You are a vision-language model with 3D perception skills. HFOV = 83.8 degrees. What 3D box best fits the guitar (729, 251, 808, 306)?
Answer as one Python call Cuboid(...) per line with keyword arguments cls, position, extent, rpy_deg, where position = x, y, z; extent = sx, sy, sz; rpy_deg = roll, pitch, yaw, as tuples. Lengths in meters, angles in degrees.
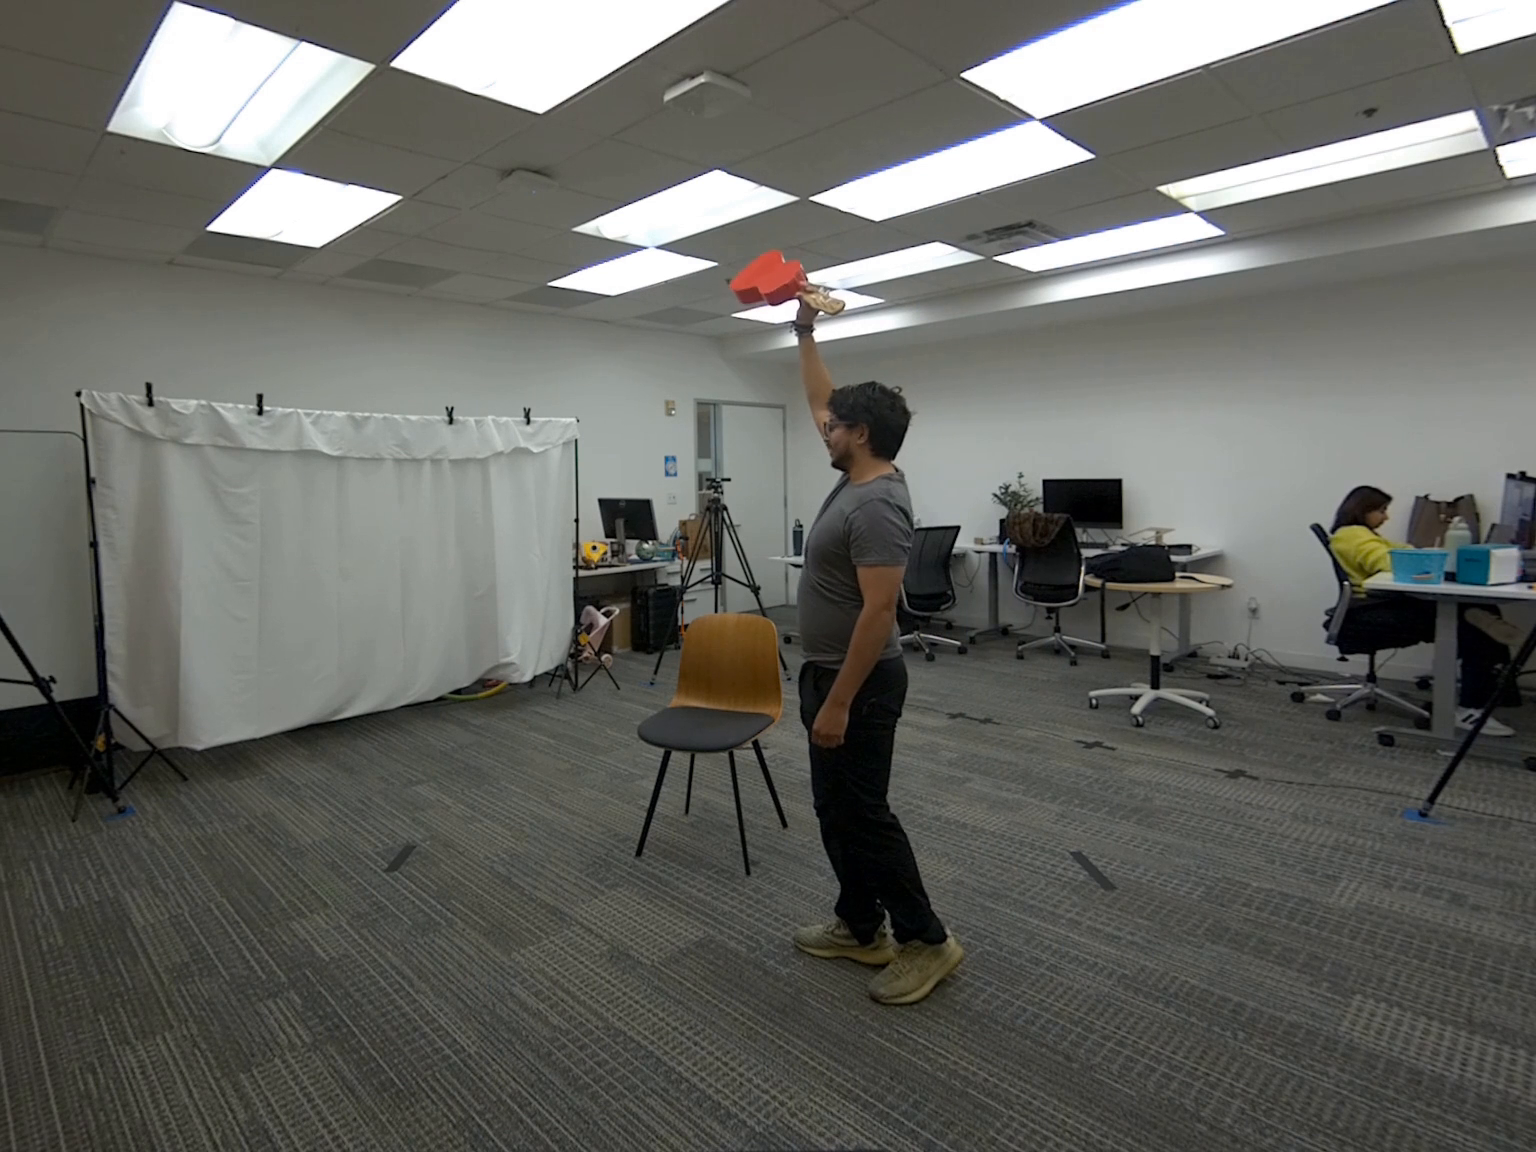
Cuboid(cls="guitar", position=(0.091, -0.882, 2.559), extent=(0.517, 0.193, 0.068), rpy_deg=(28, -19, 49))
